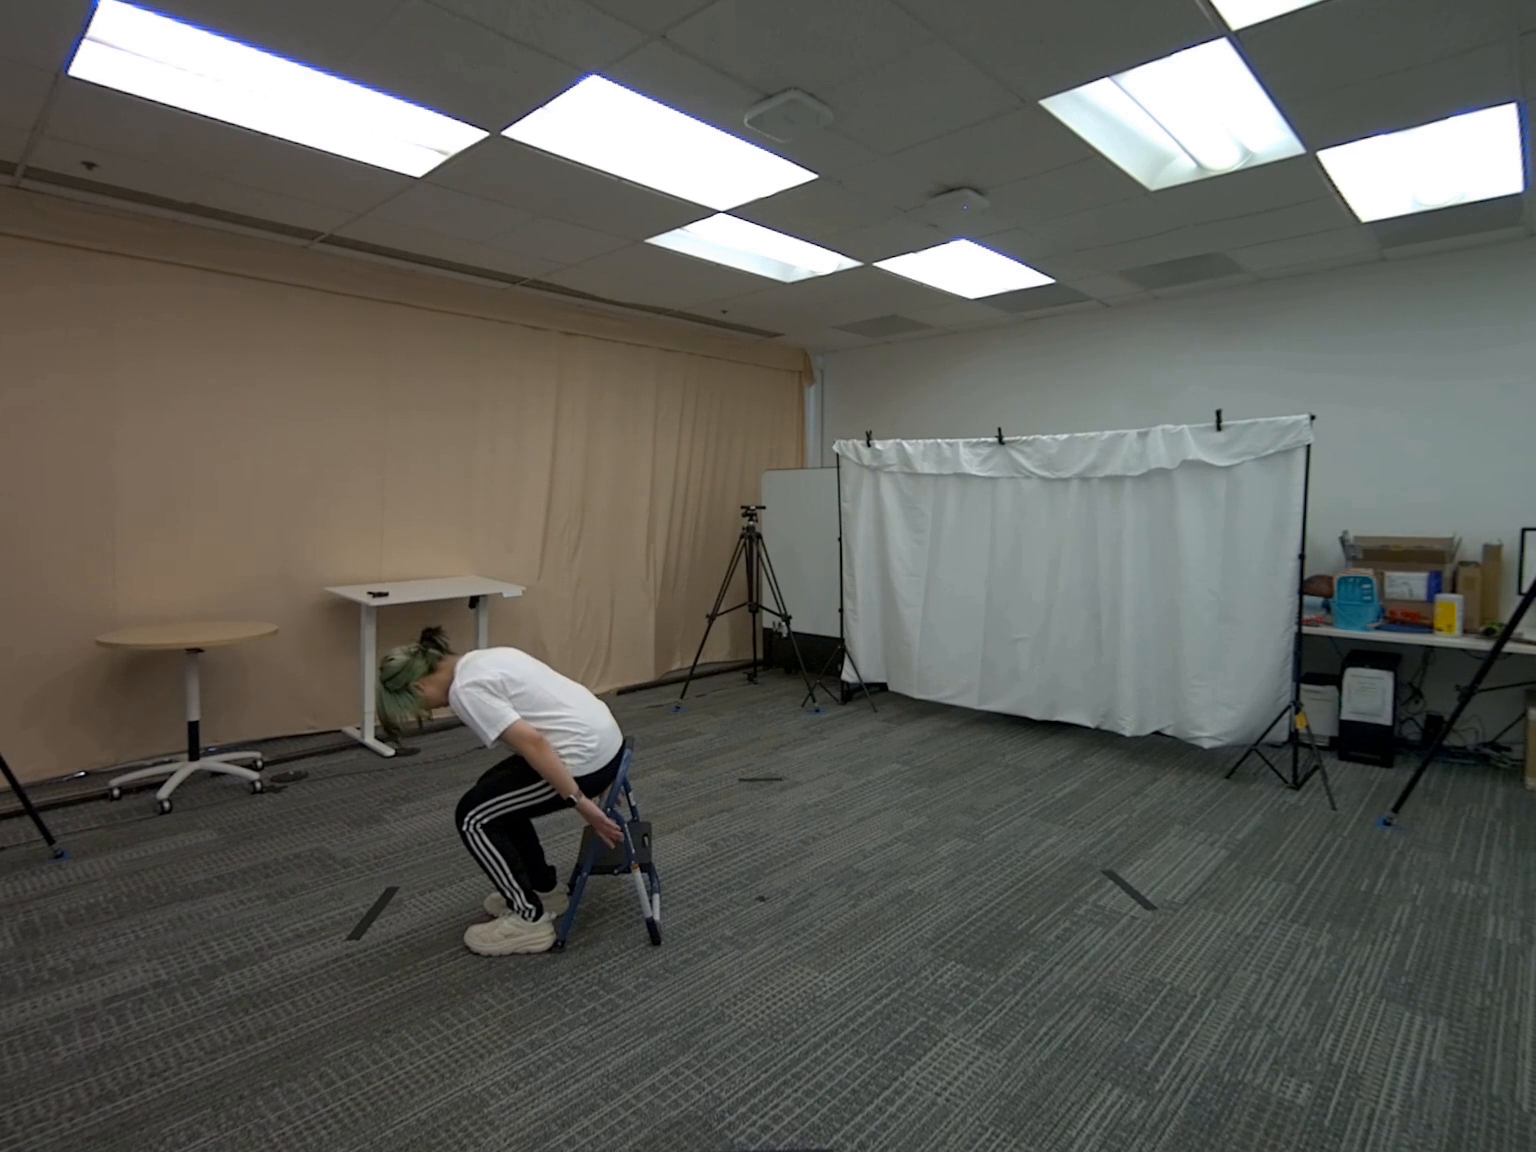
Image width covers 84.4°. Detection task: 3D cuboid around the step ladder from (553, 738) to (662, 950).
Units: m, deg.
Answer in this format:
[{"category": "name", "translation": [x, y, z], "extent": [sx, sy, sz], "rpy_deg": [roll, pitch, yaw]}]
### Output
[{"category": "step ladder", "translation": [-0.534, 0.862, 2.836], "extent": [0.347, 0.604, 0.435], "rpy_deg": [-1, 4, -8]}]
